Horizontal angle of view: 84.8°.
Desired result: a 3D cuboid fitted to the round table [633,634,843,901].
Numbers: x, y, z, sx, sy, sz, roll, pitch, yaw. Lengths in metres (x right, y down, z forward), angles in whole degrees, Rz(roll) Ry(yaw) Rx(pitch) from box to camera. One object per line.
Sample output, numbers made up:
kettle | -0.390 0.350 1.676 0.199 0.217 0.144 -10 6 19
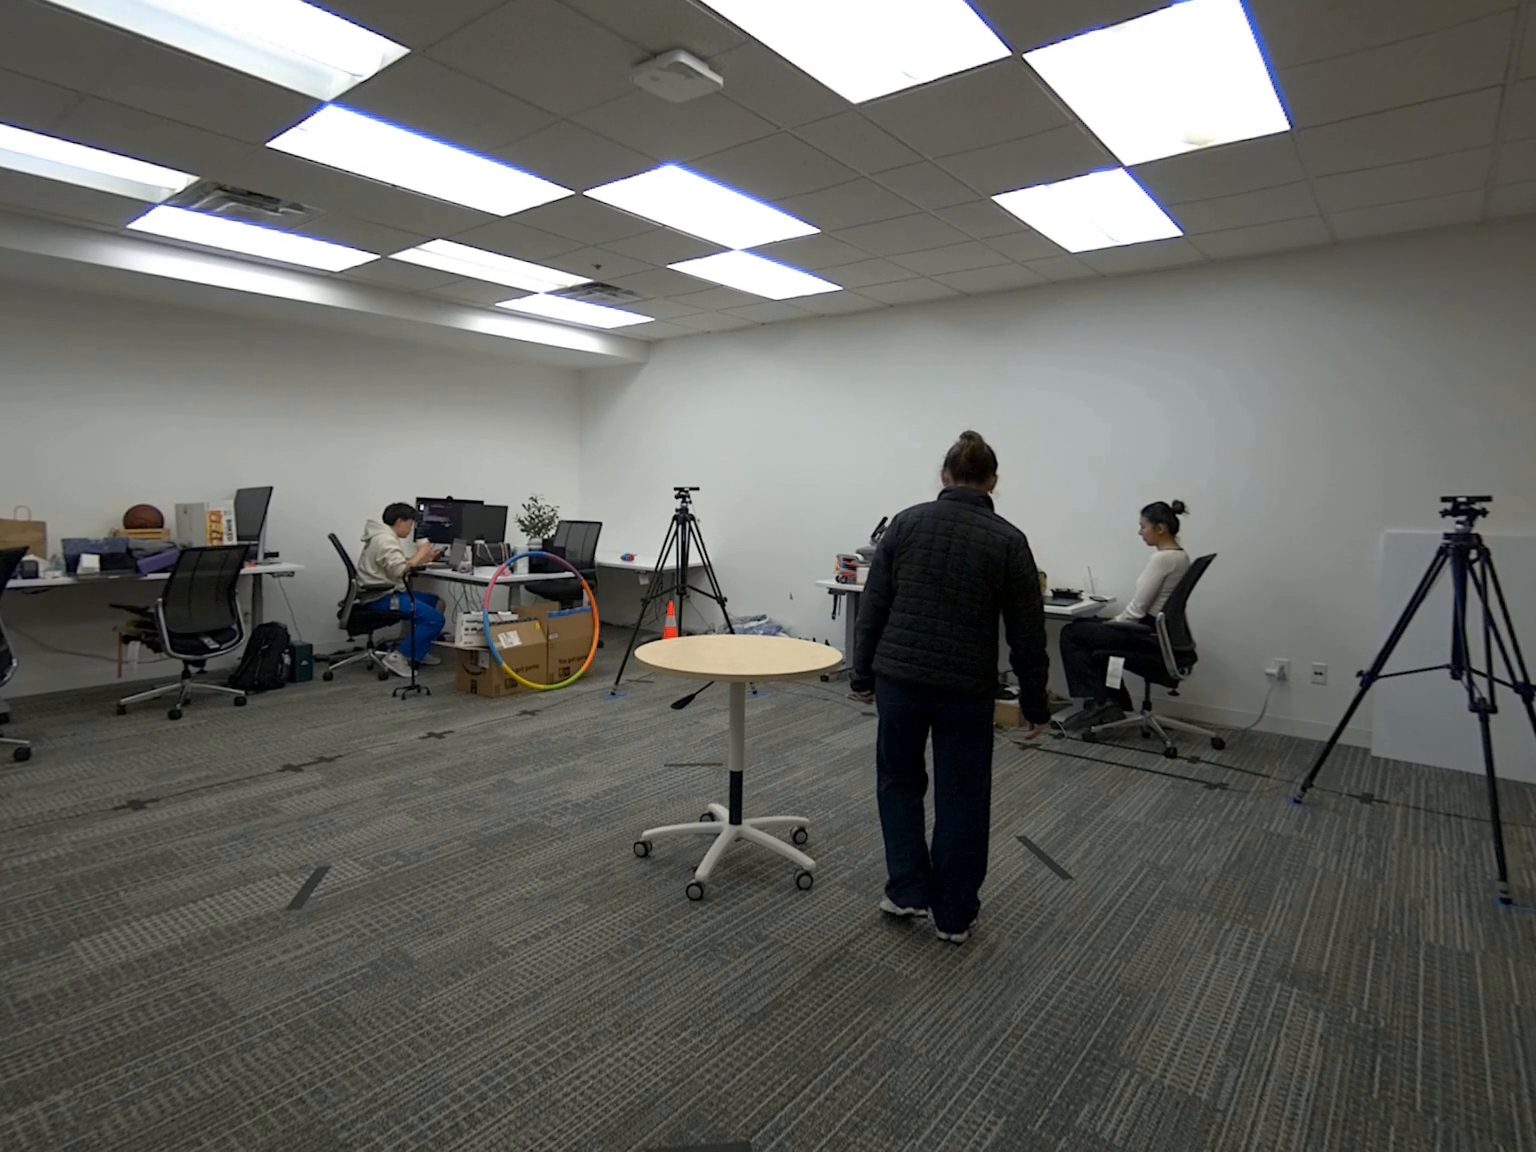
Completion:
round table | -0.100 0.668 3.168 0.784 0.784 0.789 0 4 -2
